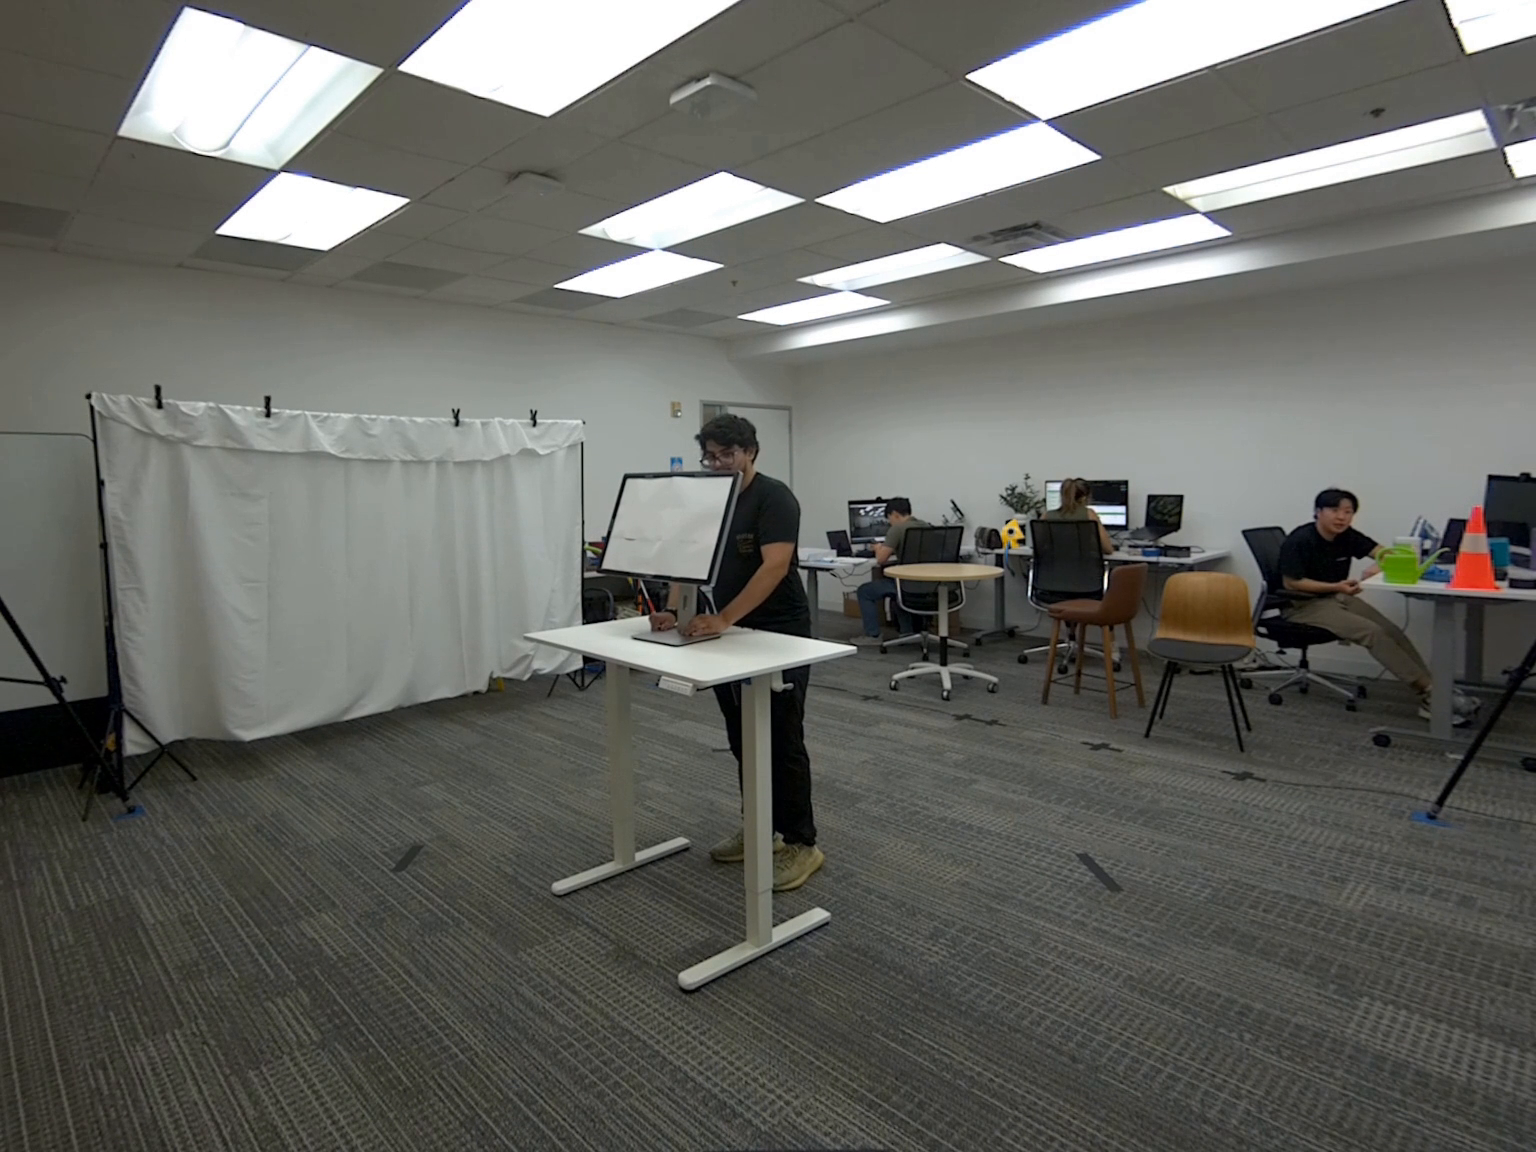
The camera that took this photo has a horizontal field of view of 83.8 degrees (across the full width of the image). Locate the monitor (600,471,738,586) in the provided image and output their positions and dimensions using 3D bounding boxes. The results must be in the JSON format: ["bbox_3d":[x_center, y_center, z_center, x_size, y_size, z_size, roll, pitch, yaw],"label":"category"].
[{"bbox_3d":[-0.290,-0.064,2.801,0.583,0.556,0.203,3,-6,43],"label":"monitor"}]
